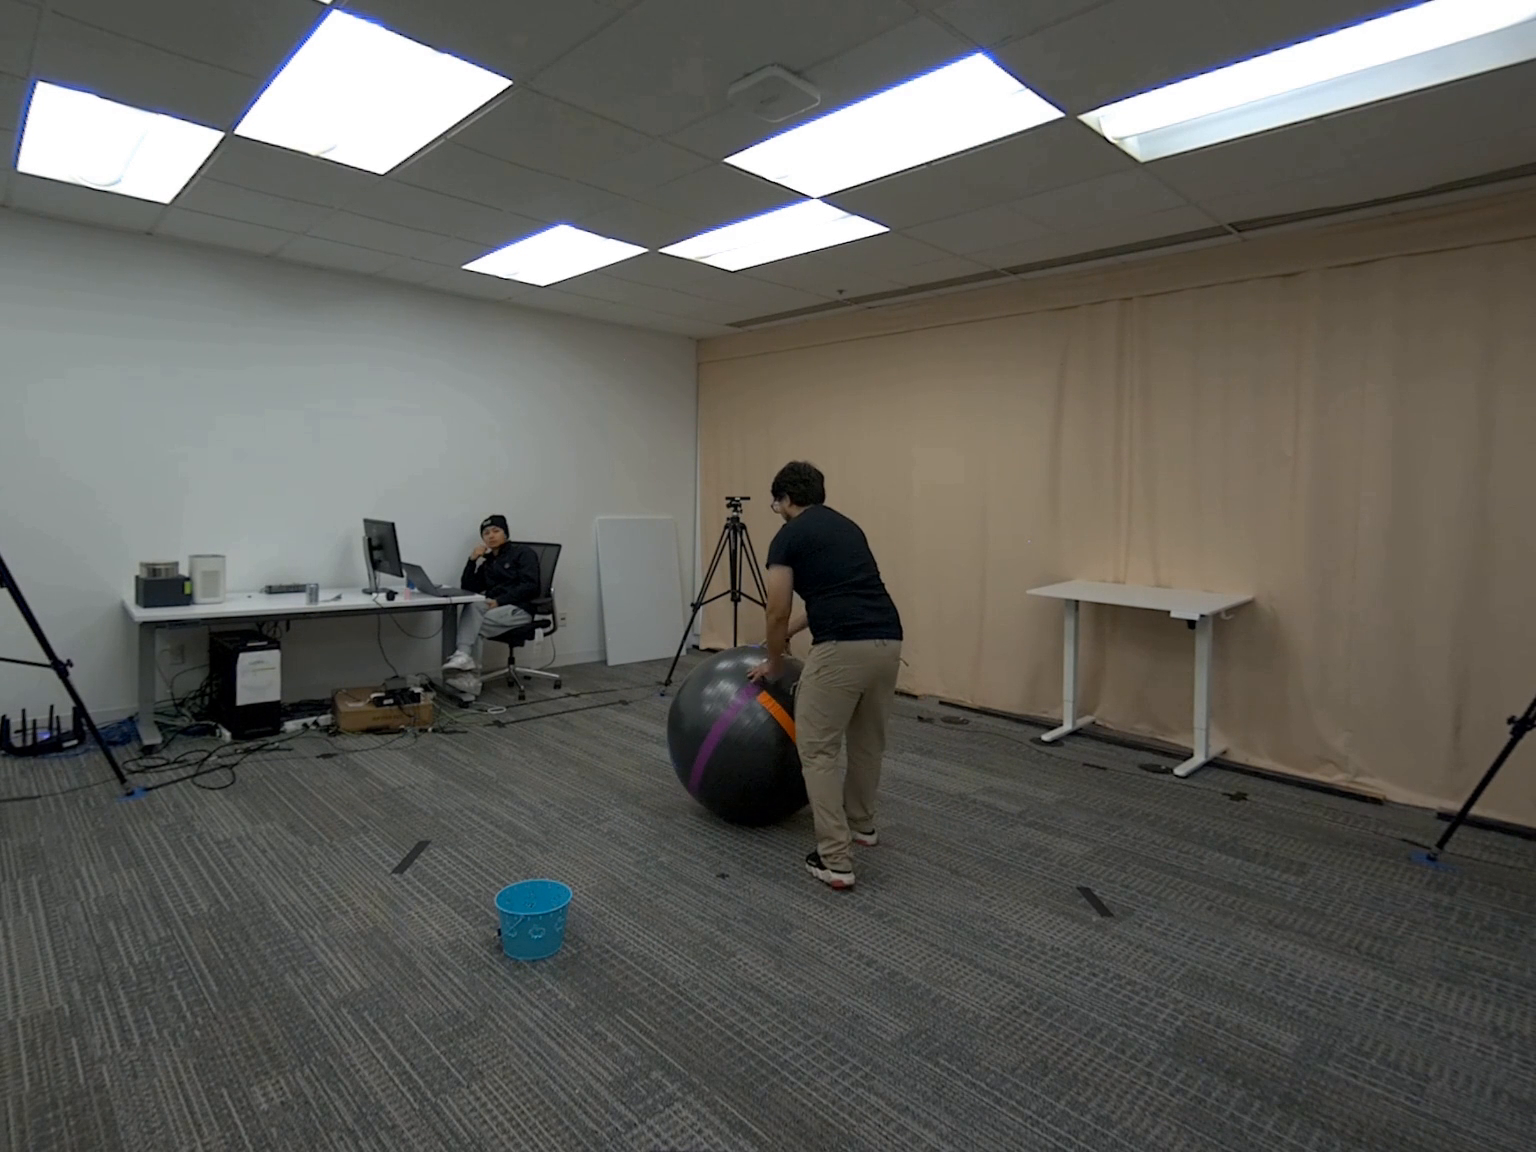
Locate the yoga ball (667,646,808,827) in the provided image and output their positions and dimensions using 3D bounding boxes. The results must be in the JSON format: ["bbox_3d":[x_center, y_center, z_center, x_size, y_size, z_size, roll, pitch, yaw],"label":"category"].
[{"bbox_3d":[-0.075,0.688,3.705,0.757,0.756,0.761,1,4,-1],"label":"yoga ball"}]
